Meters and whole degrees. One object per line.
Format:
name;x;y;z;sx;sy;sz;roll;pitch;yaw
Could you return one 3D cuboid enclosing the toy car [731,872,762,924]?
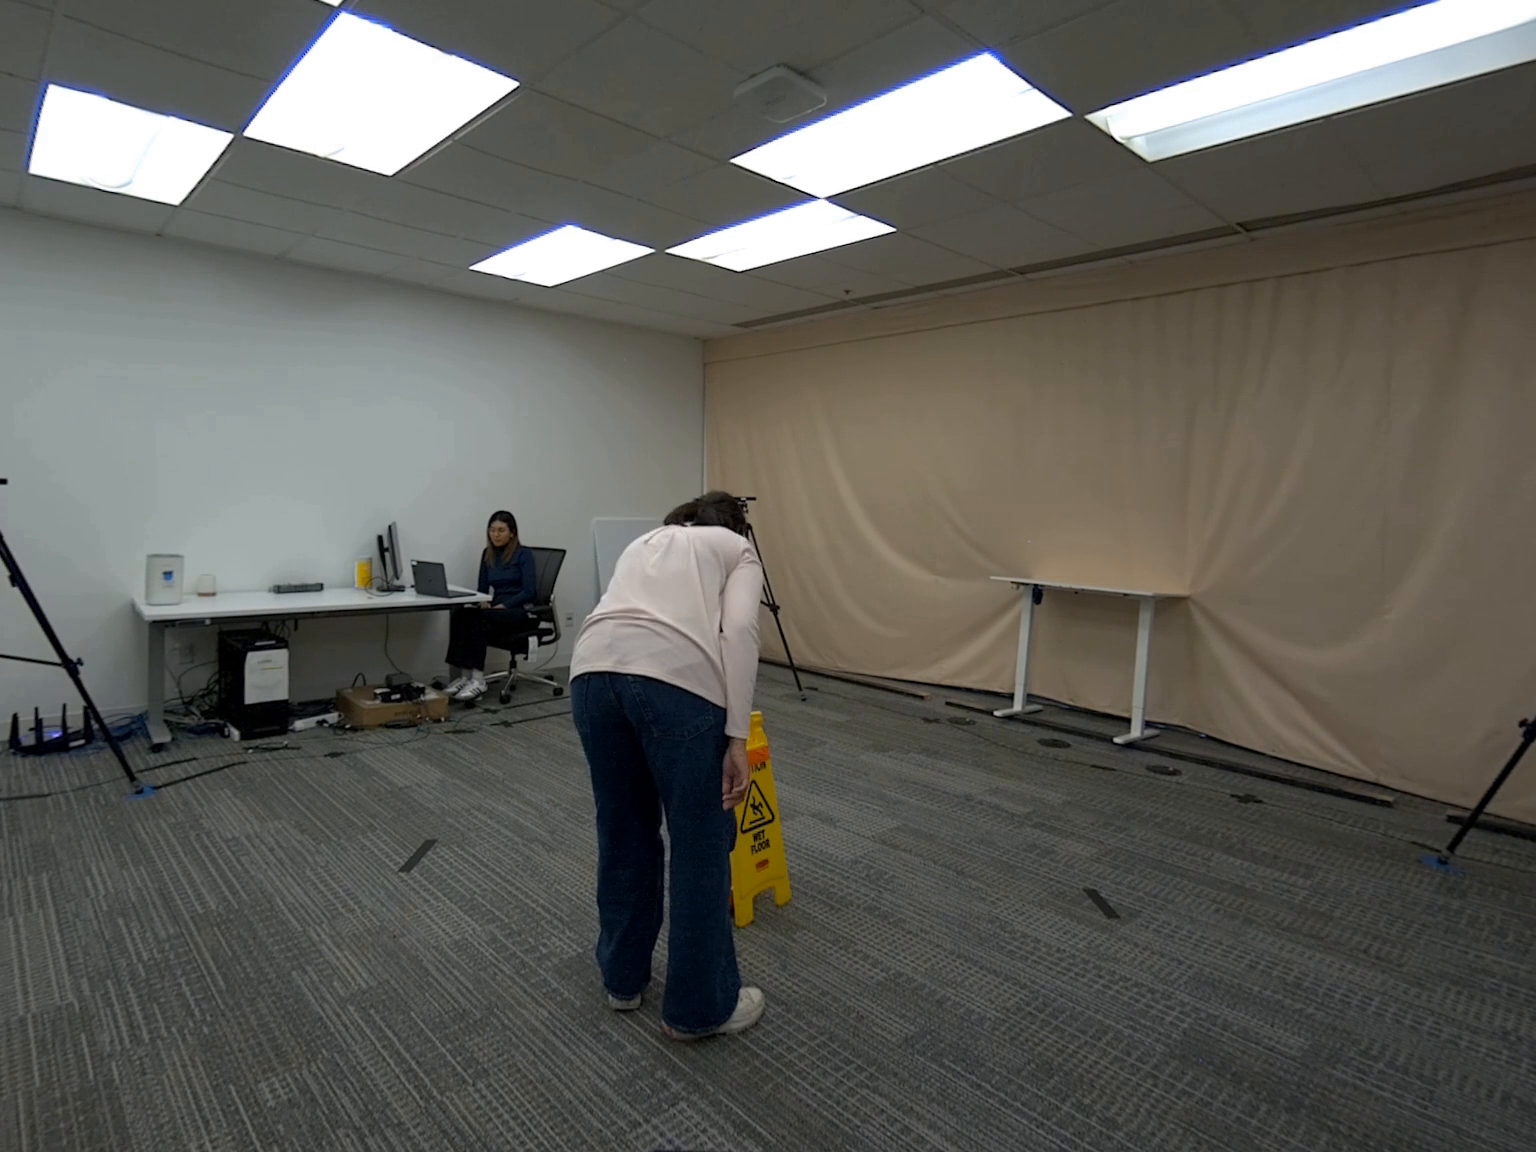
toy car;-0.166;1.103;2.836;0.250;0.083;0.133;-14;11;-41
